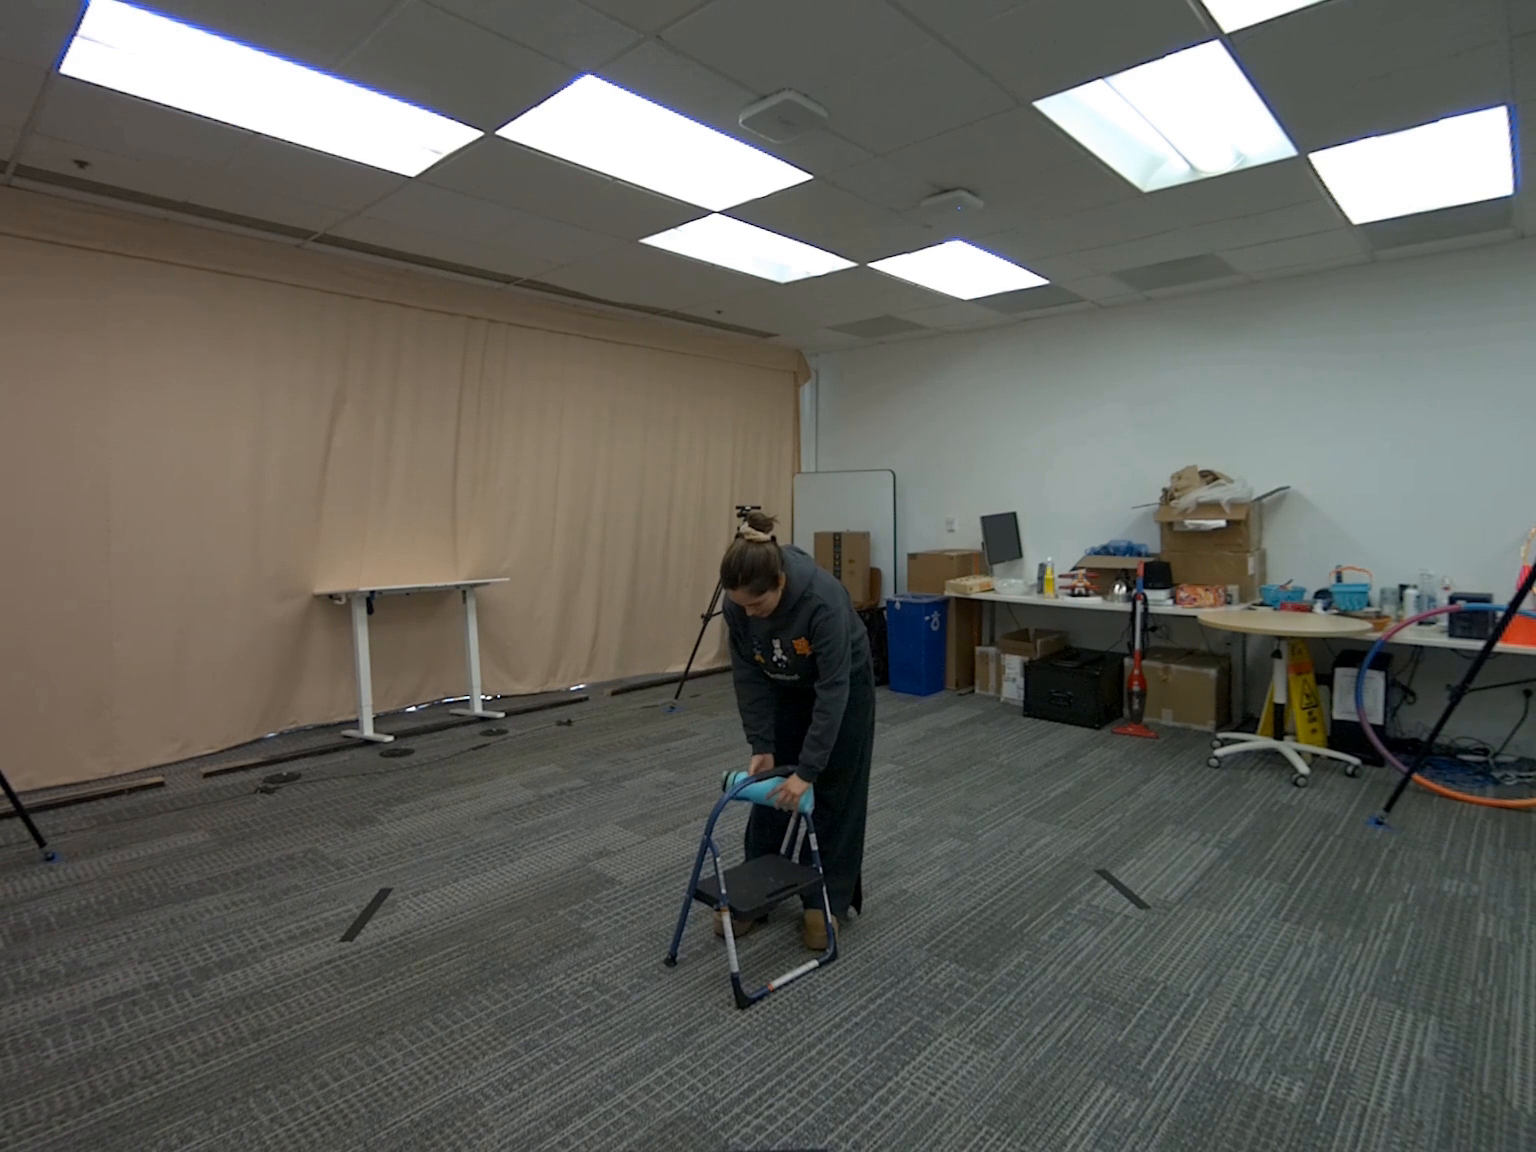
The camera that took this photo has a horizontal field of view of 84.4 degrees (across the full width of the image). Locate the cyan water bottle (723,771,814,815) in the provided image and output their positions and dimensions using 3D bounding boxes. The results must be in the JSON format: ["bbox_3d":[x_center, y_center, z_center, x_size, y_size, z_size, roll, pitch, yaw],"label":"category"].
[{"bbox_3d":[0.015,0.664,2.576,0.289,0.092,0.091,4,5,18],"label":"cyan water bottle"}]
